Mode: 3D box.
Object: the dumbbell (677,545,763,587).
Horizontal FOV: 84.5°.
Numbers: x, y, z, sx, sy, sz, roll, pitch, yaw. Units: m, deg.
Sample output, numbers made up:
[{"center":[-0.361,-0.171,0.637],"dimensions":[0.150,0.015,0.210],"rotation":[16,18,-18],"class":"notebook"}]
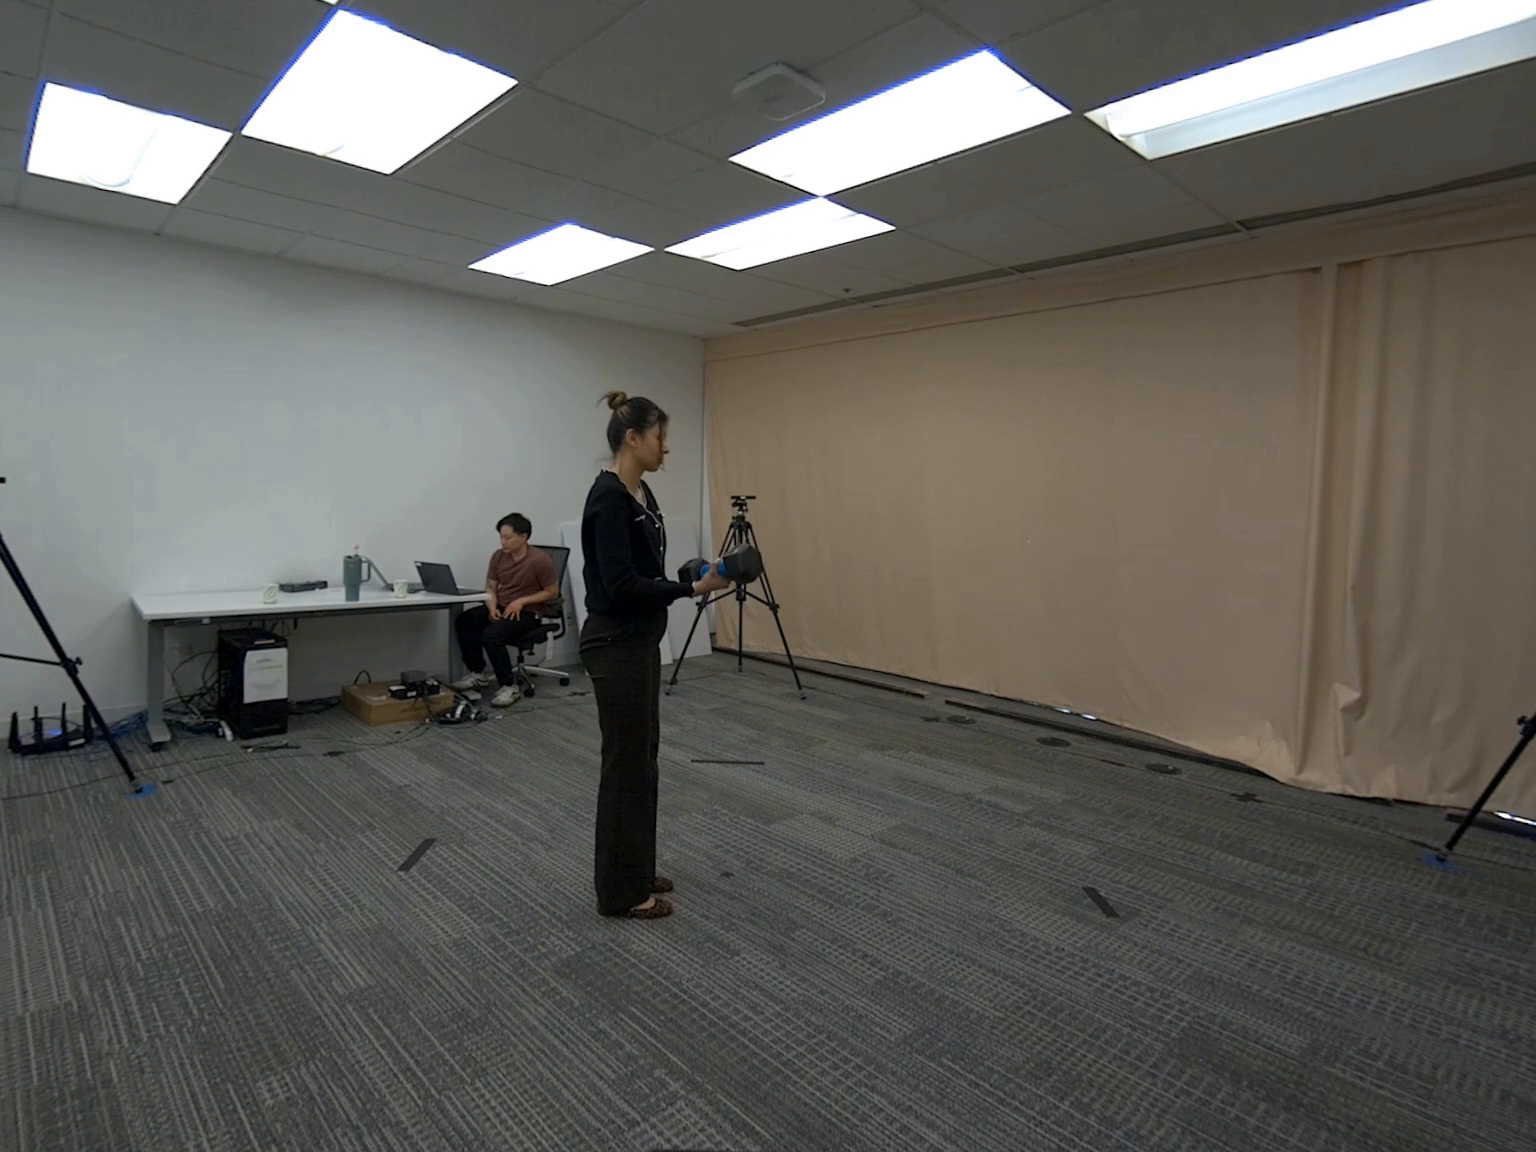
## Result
[{"center":[-0.162,-0.014,2.627],"dimensions":[0.298,0.110,0.119],"rotation":[-15,-39,44],"class":"dumbbell"}]
